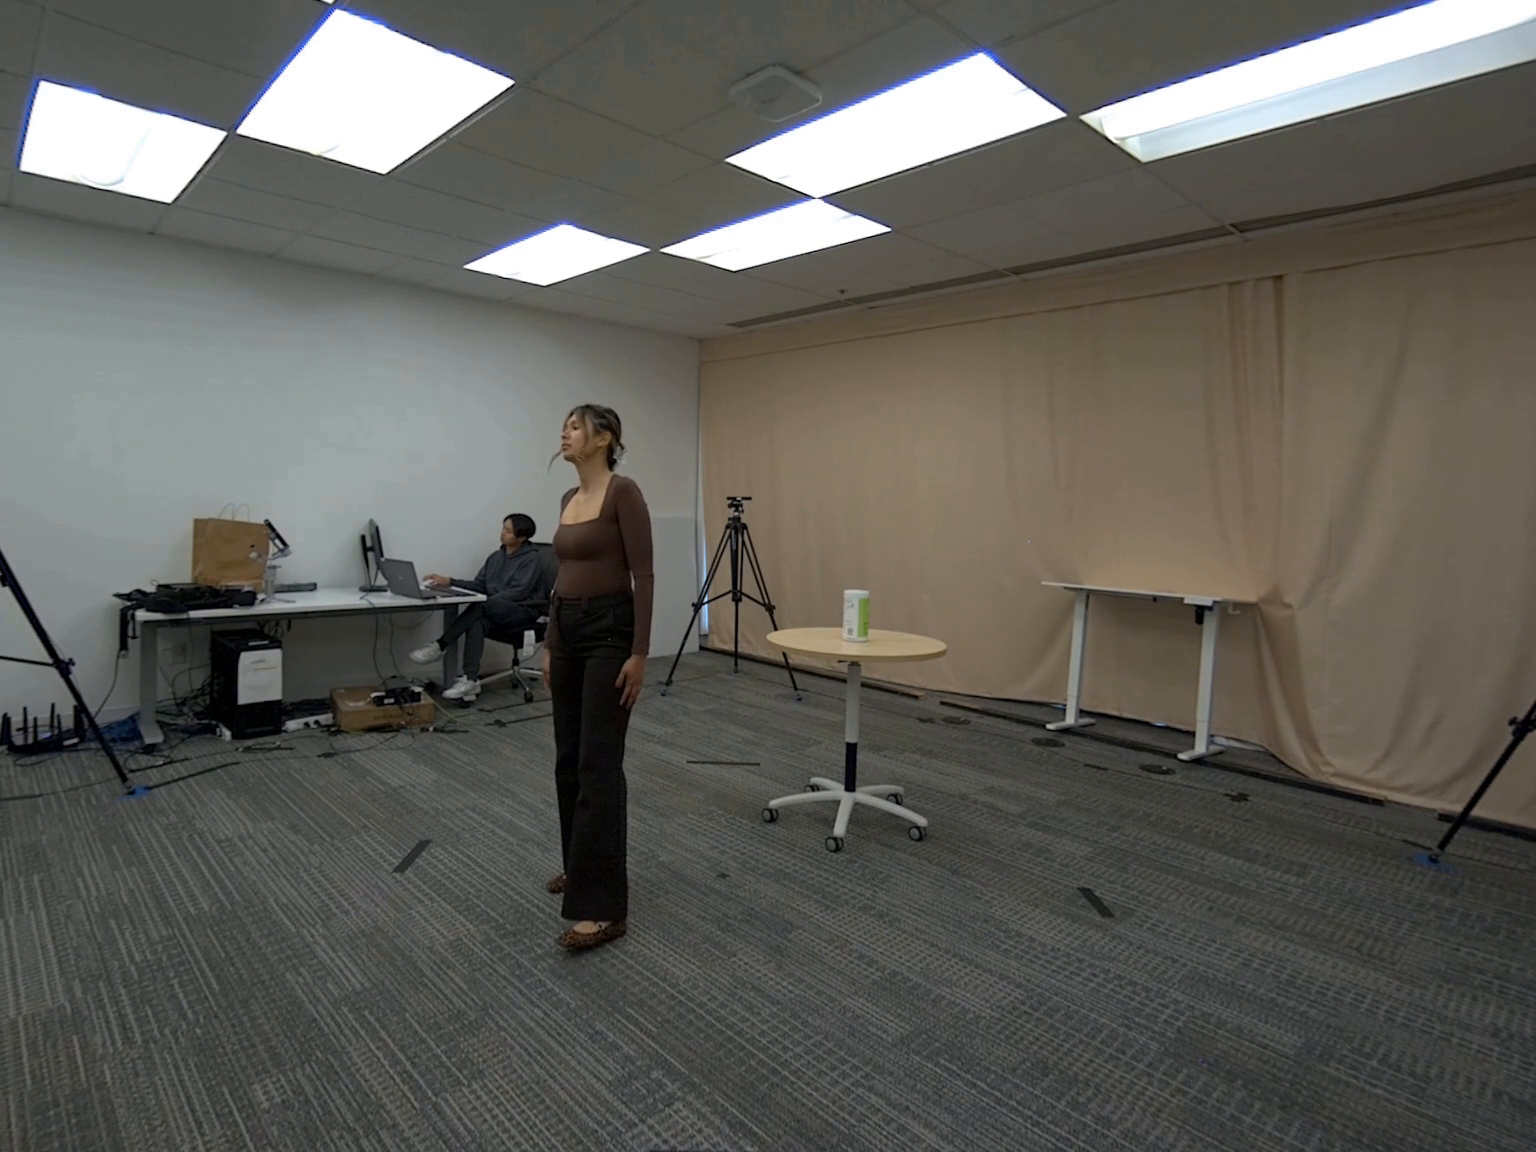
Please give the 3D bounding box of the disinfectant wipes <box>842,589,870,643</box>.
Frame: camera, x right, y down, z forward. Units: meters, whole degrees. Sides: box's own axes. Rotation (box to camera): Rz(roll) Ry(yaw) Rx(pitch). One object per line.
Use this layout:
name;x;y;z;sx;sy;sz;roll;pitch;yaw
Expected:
disinfectant wipes;0.374;0.172;3.618;0.118;0.217;0.118;1;2;-1
